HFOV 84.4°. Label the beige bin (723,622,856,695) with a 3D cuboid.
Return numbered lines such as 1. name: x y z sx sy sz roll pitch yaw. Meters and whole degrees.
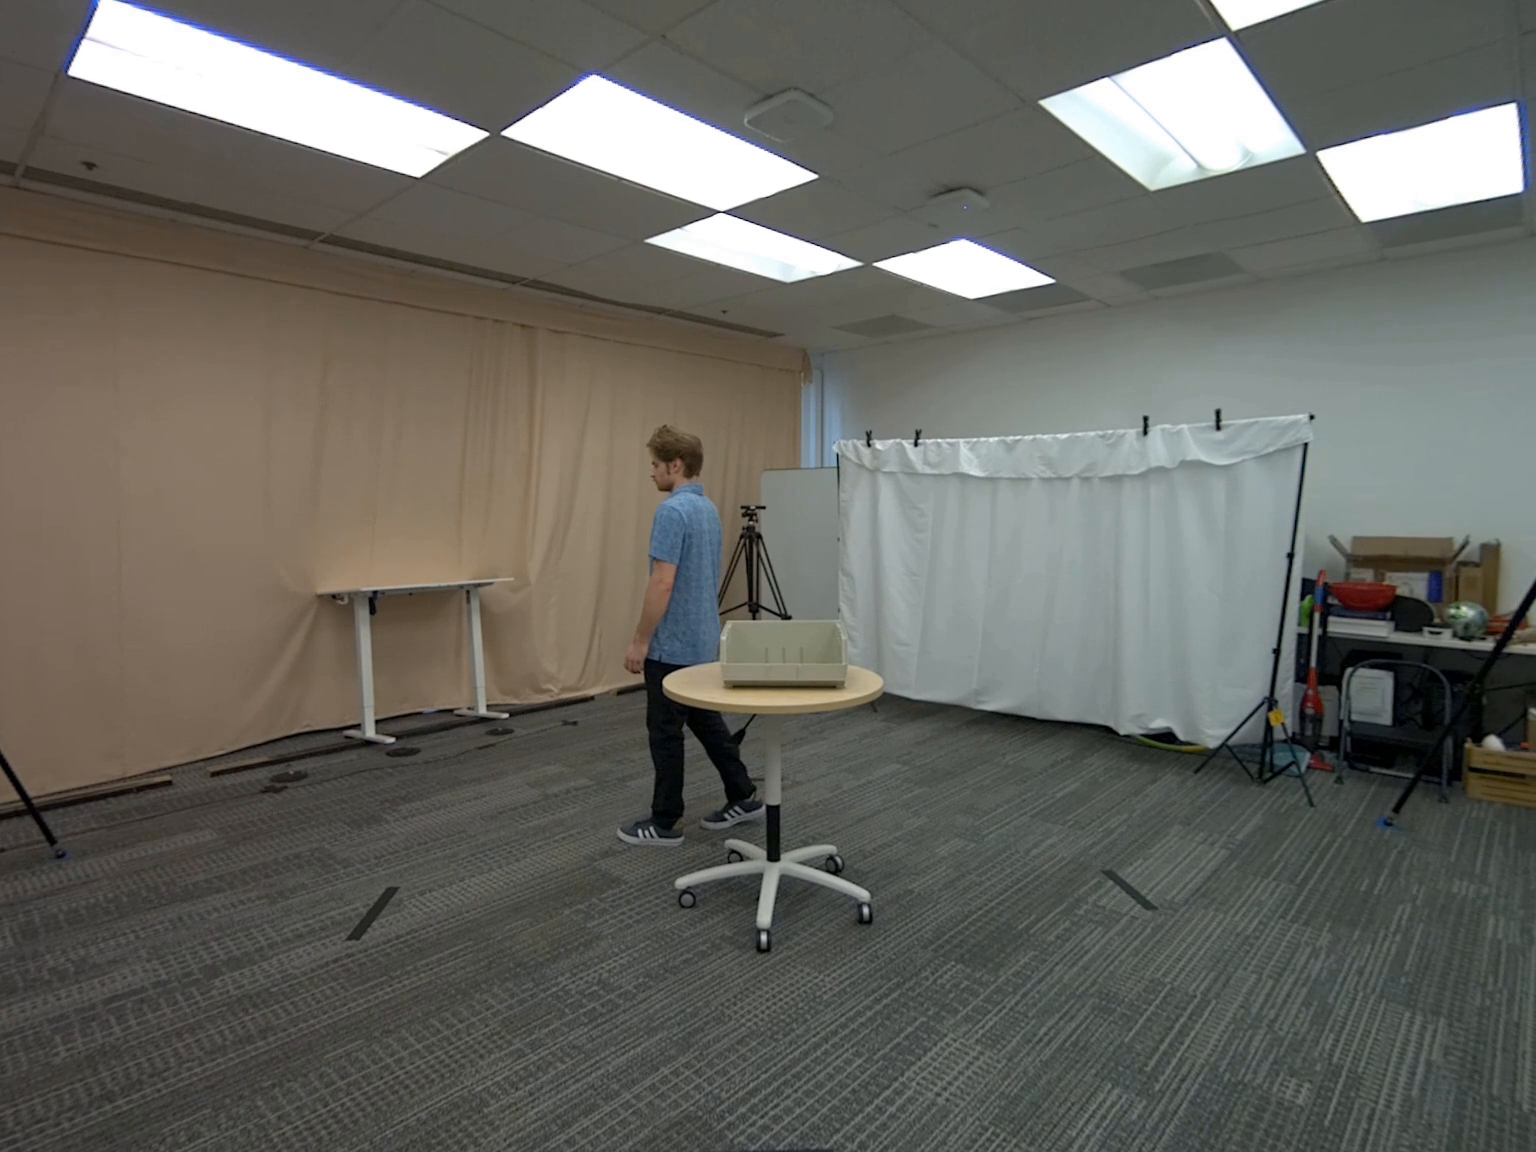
1. beige bin: 0.069 0.274 2.915 0.424 0.189 0.376 -1 3 2
